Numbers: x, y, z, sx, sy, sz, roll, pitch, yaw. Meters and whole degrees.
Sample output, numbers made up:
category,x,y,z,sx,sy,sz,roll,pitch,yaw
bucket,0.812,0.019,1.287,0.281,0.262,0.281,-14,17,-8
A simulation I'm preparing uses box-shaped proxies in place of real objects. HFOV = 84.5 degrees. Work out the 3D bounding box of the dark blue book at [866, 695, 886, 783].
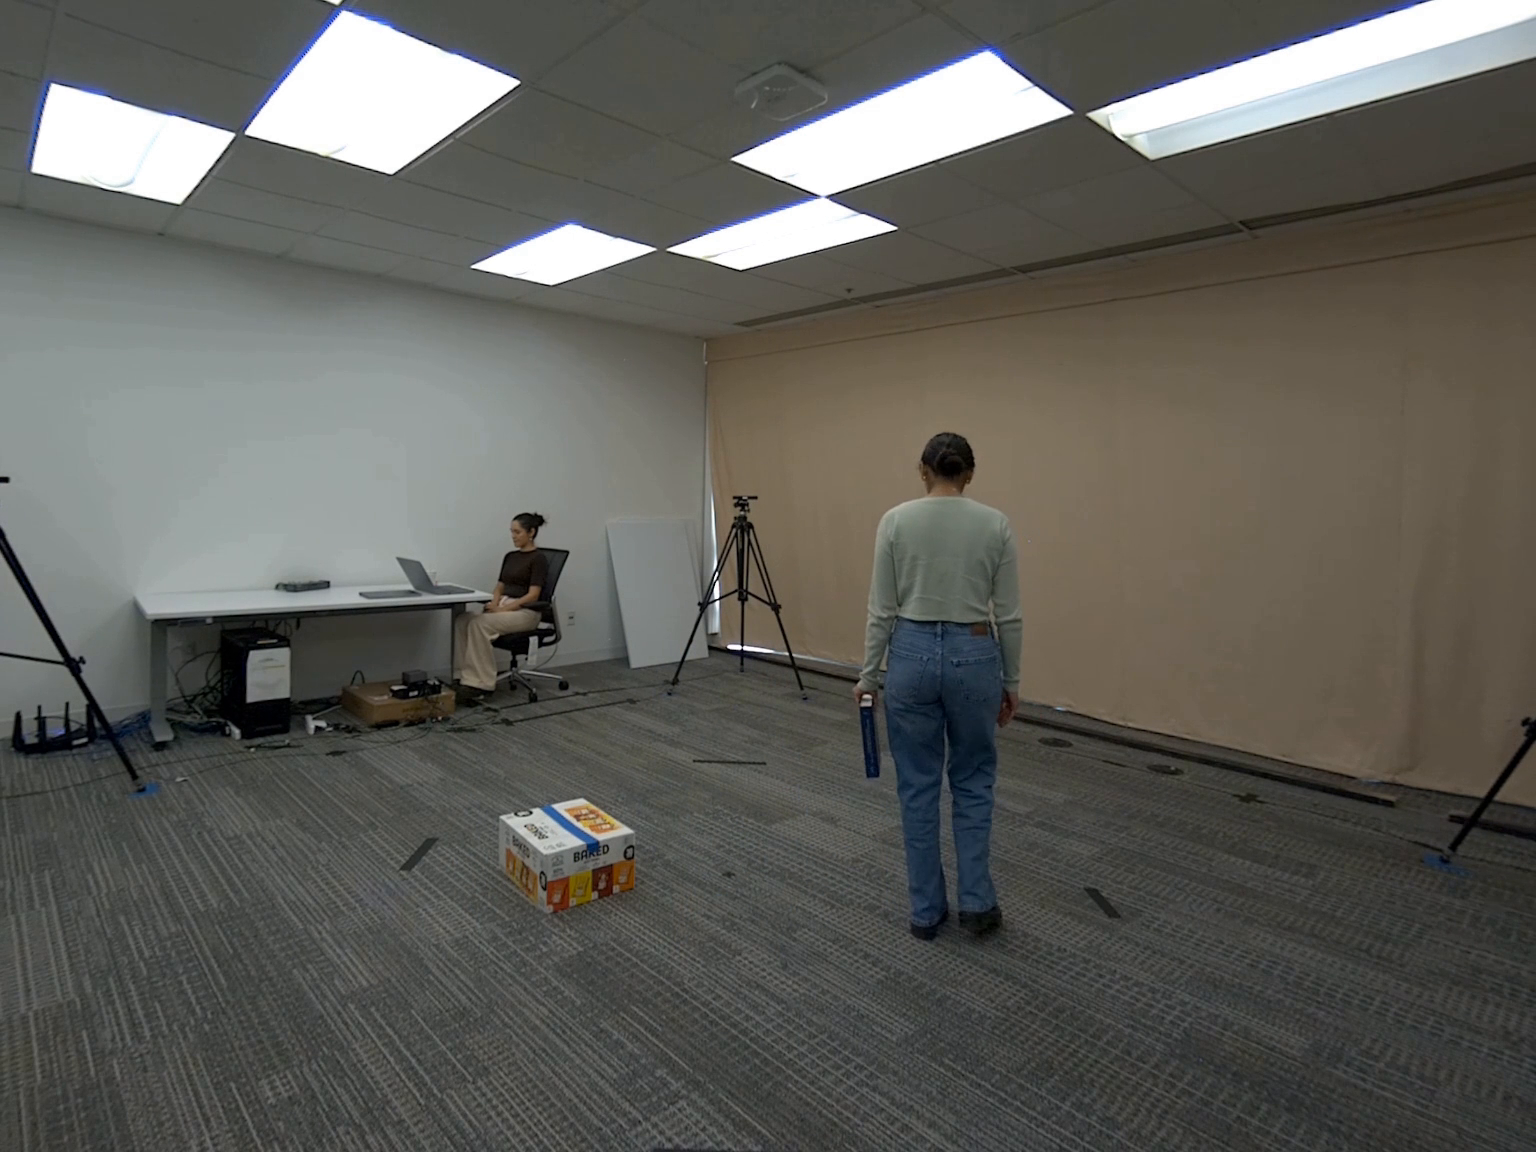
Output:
category,x,y,z,sx,sy,sz,roll,pitch,yaw
dark blue book,0.360,0.539,2.831,0.045,0.244,0.162,-1,6,11
